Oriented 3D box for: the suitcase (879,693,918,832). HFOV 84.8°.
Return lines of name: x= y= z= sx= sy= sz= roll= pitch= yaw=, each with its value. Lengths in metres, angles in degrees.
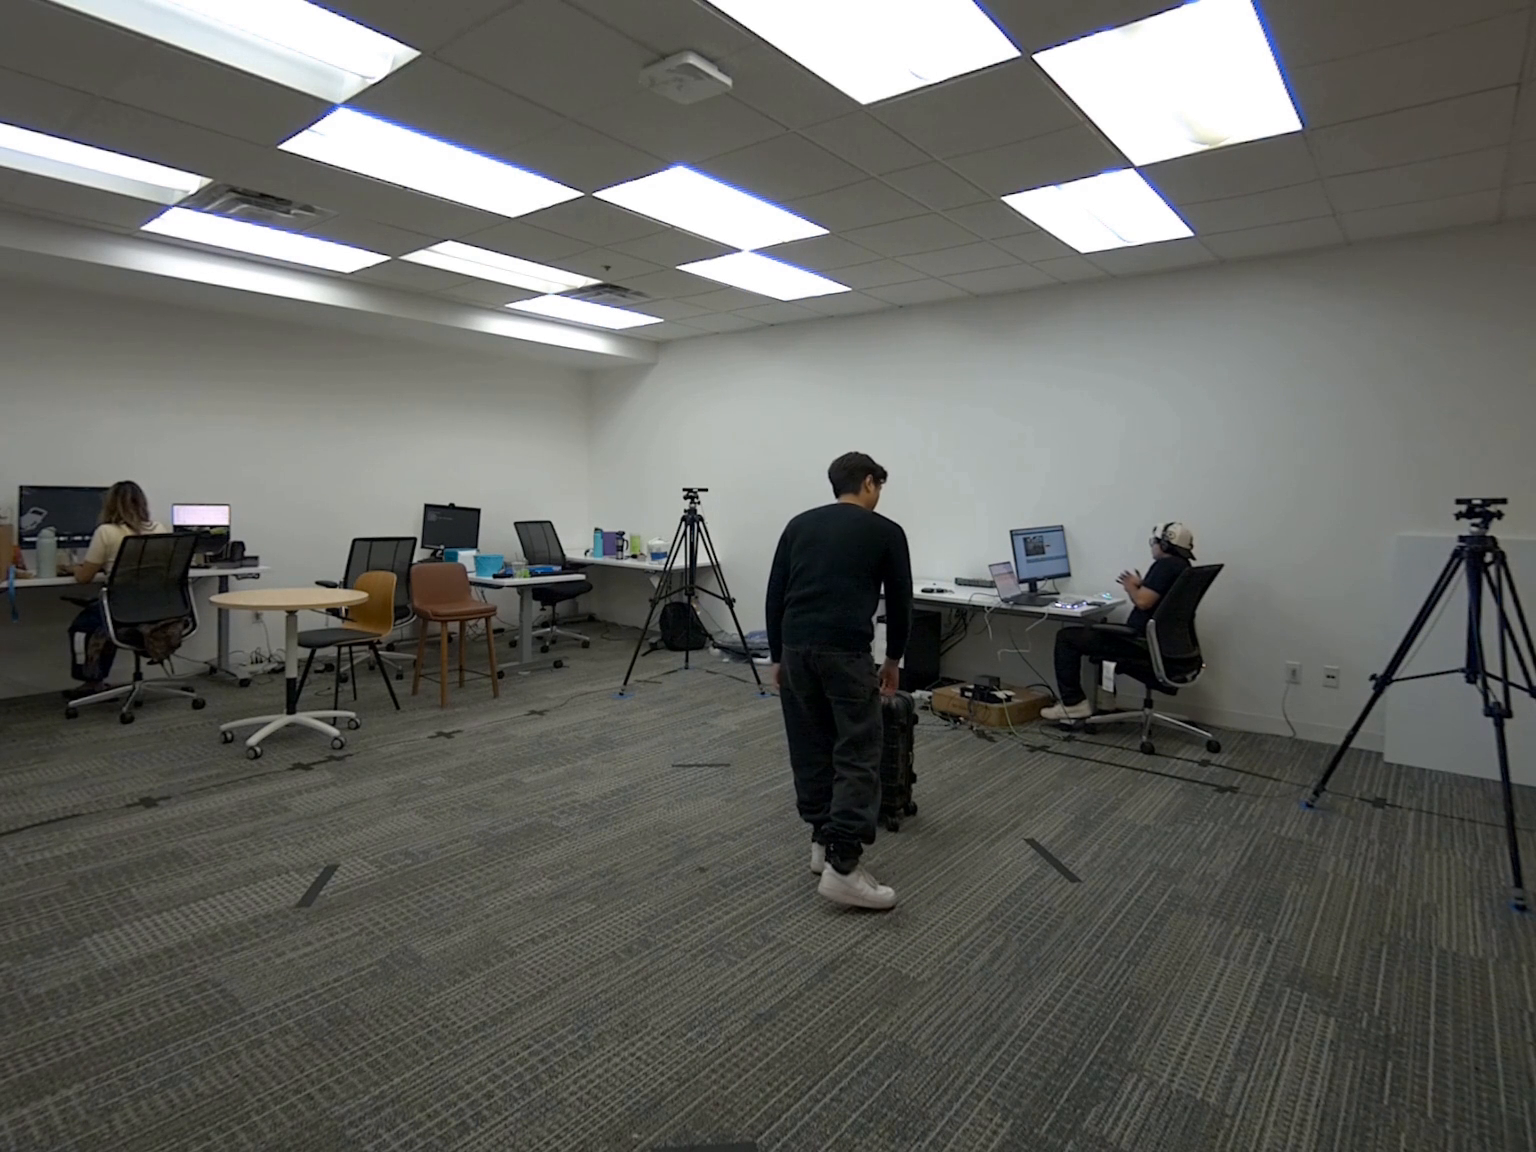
suitcase: x=0.428 y=0.747 z=3.684 sx=0.386 sy=0.548 sz=0.241 roll=2 pitch=2 yaw=31
